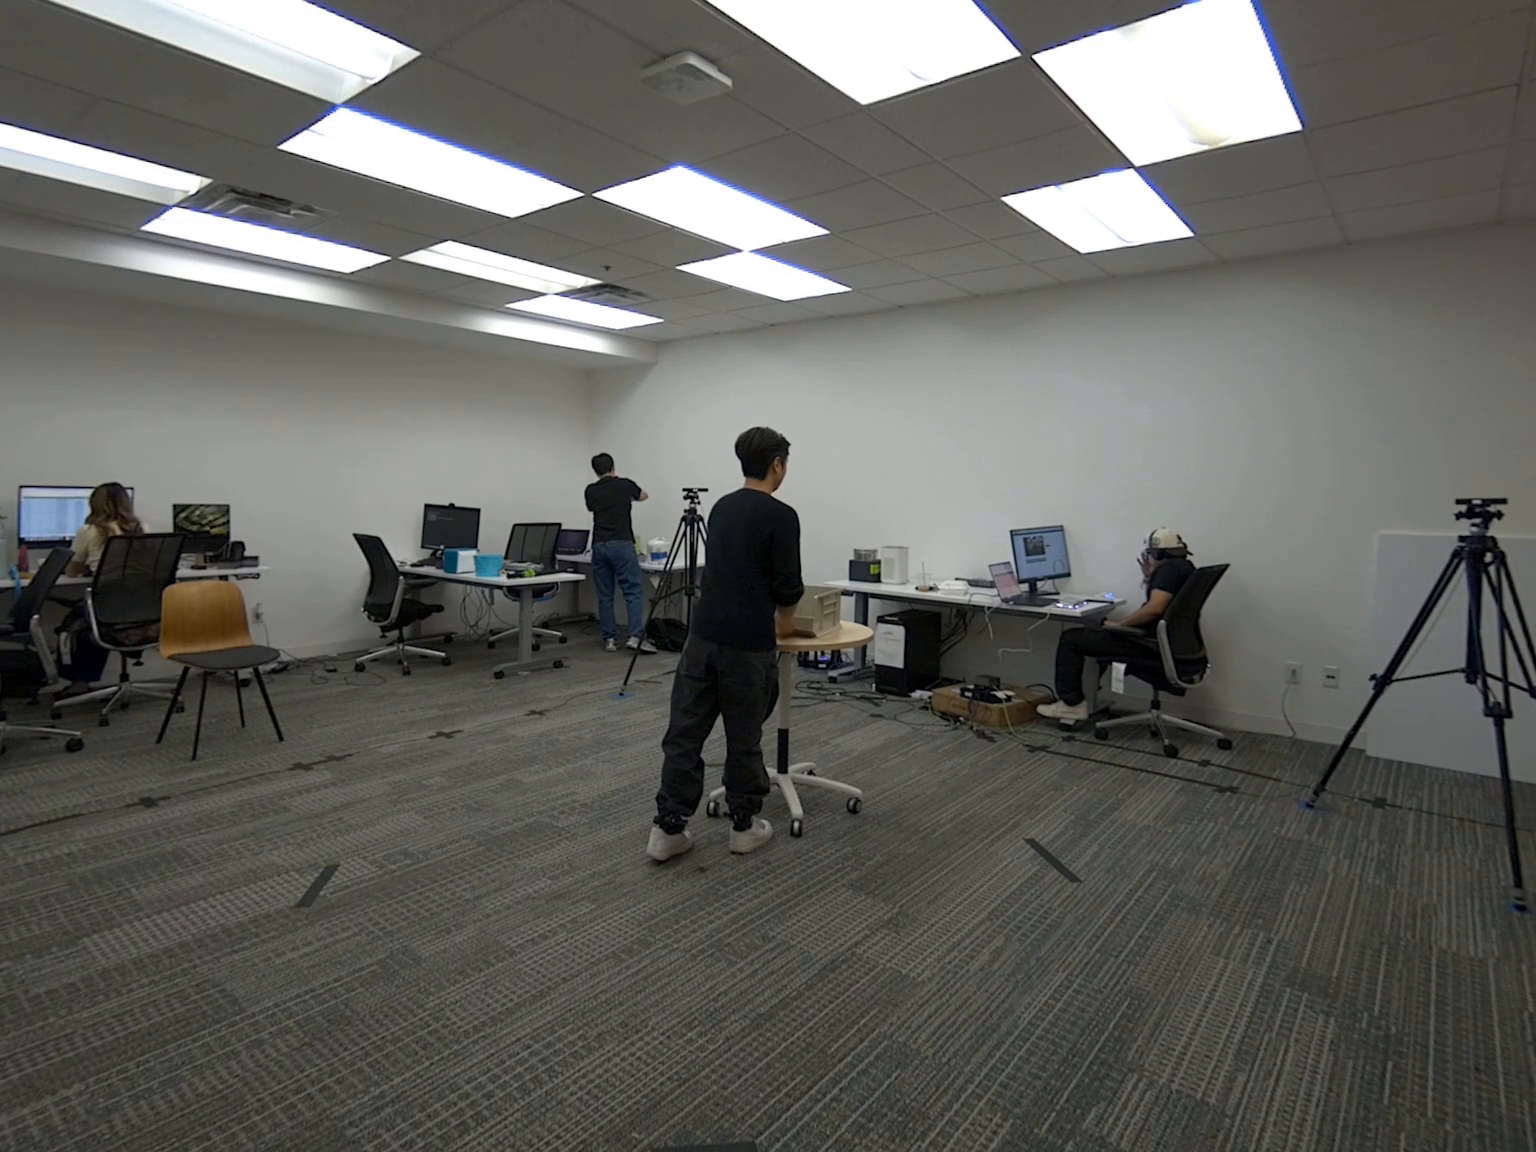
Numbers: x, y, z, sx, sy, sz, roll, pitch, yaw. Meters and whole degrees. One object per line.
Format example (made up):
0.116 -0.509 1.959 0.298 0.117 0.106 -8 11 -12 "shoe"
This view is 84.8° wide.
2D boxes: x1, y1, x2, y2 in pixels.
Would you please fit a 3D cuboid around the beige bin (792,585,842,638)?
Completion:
0.070 0.144 3.735 0.434 0.188 0.368 3 5 26 "beige bin"
